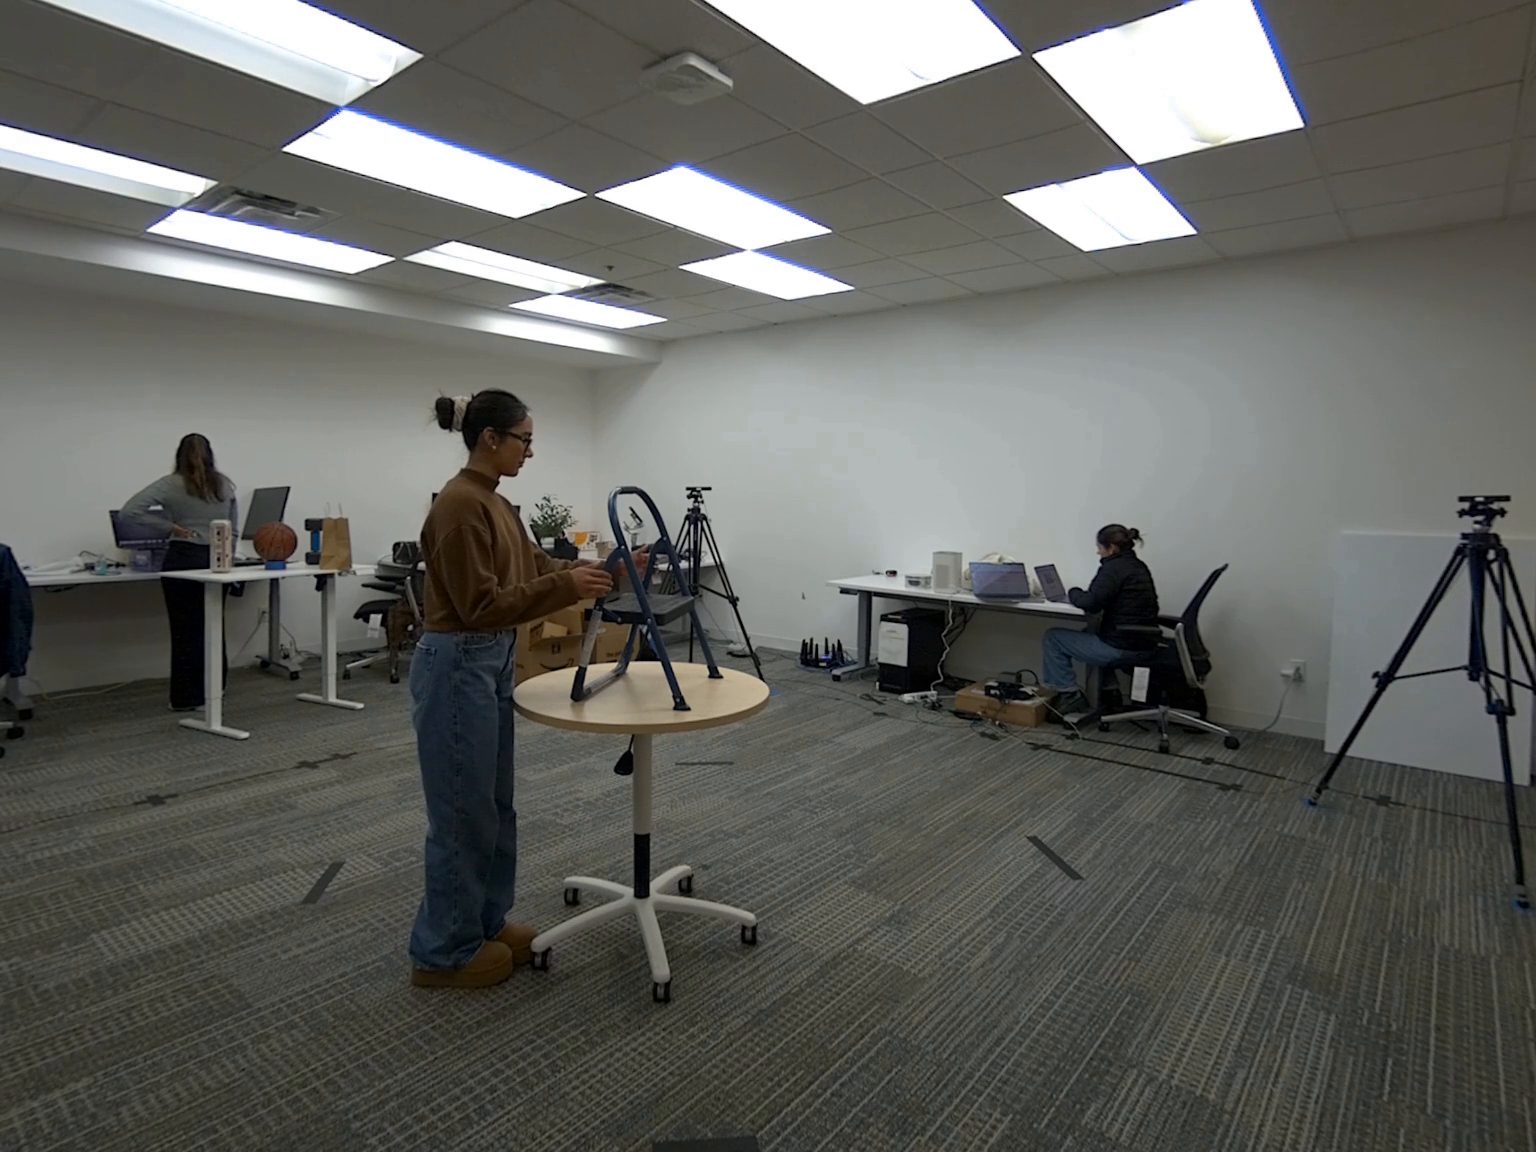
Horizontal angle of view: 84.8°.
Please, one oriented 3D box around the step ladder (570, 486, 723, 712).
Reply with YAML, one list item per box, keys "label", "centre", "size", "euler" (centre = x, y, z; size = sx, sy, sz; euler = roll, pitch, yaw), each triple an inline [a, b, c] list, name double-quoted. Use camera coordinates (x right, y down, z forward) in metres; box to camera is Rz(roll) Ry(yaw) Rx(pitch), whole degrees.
- label: "step ladder"
  centre: [-0.365, 0.043, 2.530]
  size: [0.354, 0.603, 0.426]
  euler: [2, 5, 12]
